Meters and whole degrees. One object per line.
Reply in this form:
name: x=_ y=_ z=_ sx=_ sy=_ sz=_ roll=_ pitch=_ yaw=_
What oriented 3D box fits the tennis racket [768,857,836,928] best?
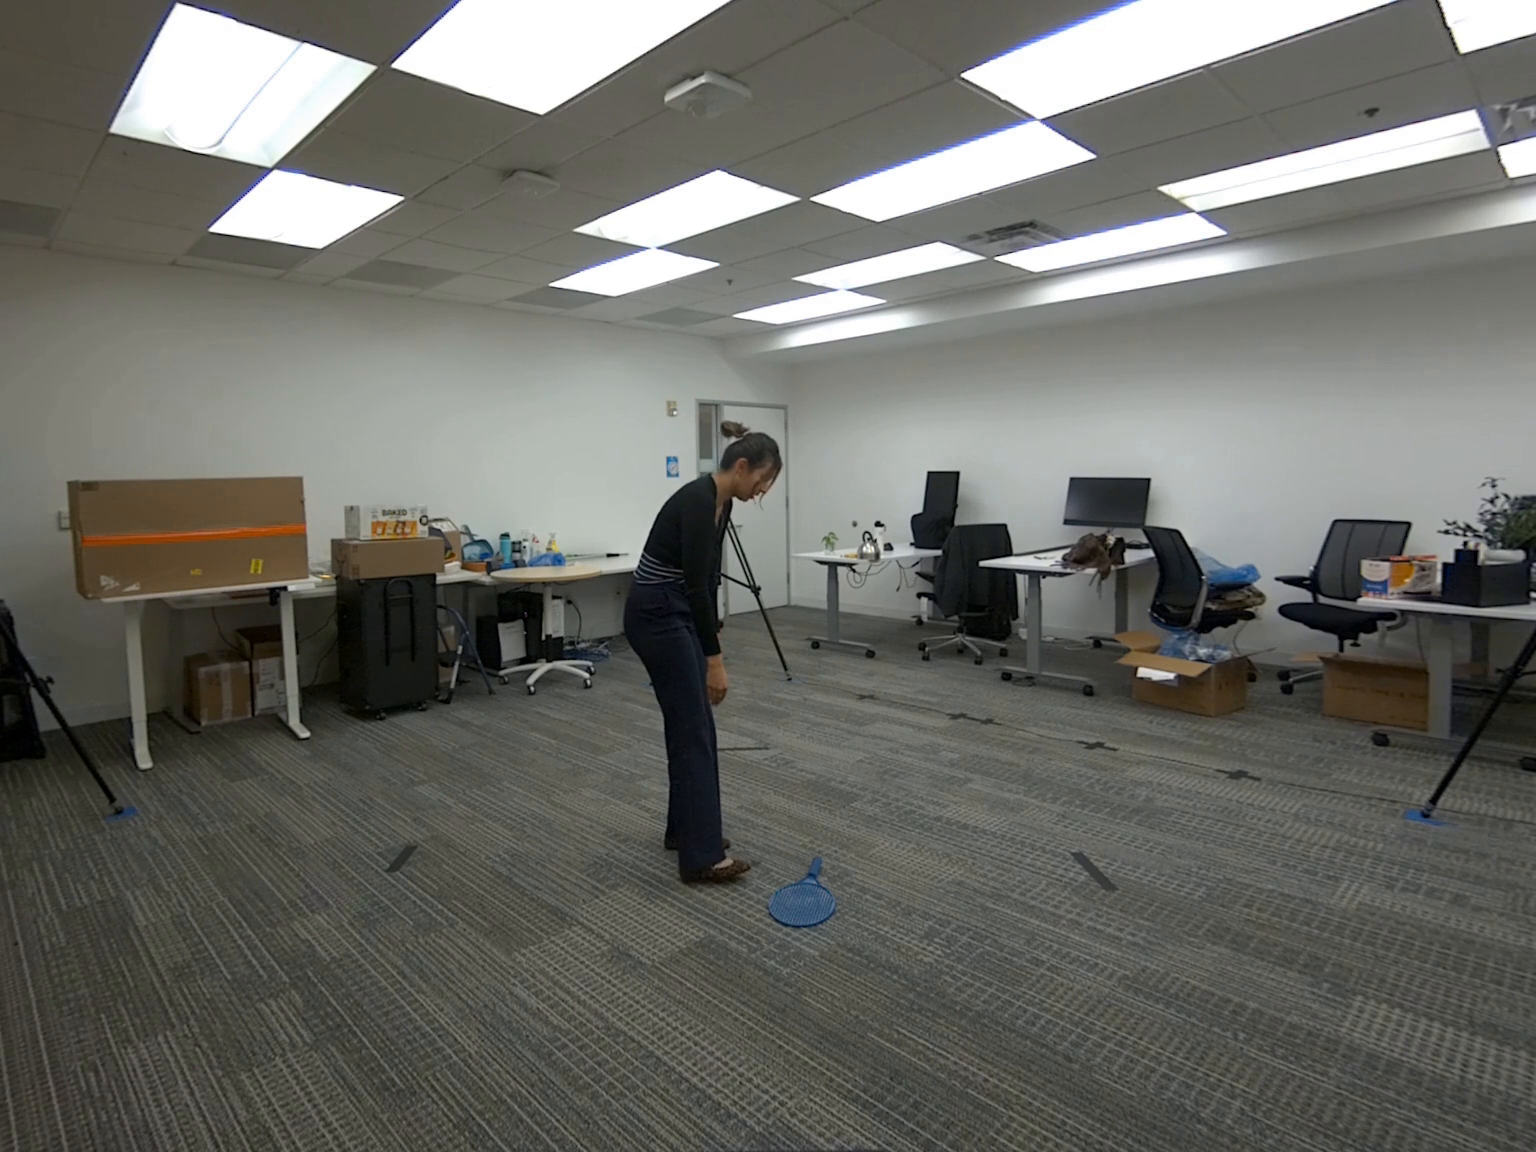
tennis racket: x=0.127 y=1.054 z=2.865 sx=0.216 sy=0.031 sz=0.430 roll=0 pitch=8 yaw=11
